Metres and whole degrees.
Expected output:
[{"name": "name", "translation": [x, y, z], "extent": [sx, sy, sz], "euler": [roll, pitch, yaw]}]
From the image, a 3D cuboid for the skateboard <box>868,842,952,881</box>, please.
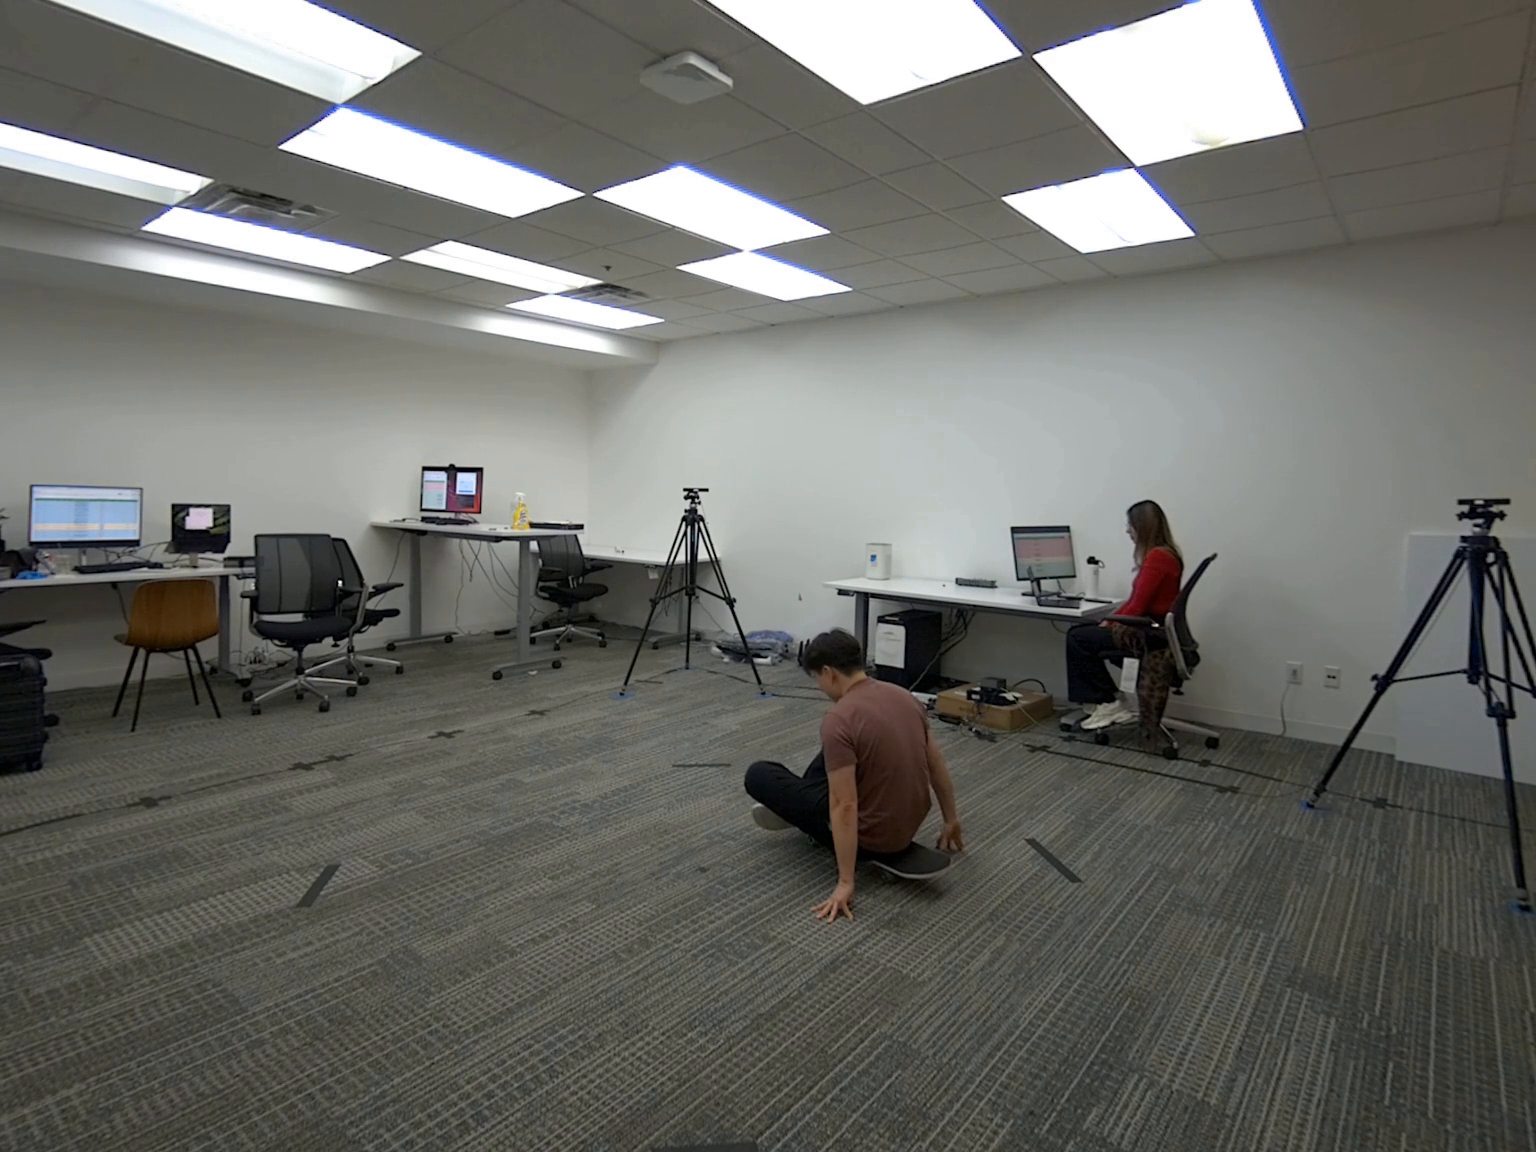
[{"name": "skateboard", "translation": [0.348, 1.022, 3.237], "extent": [0.189, 0.109, 0.813], "euler": [-14, 14, -37]}]
